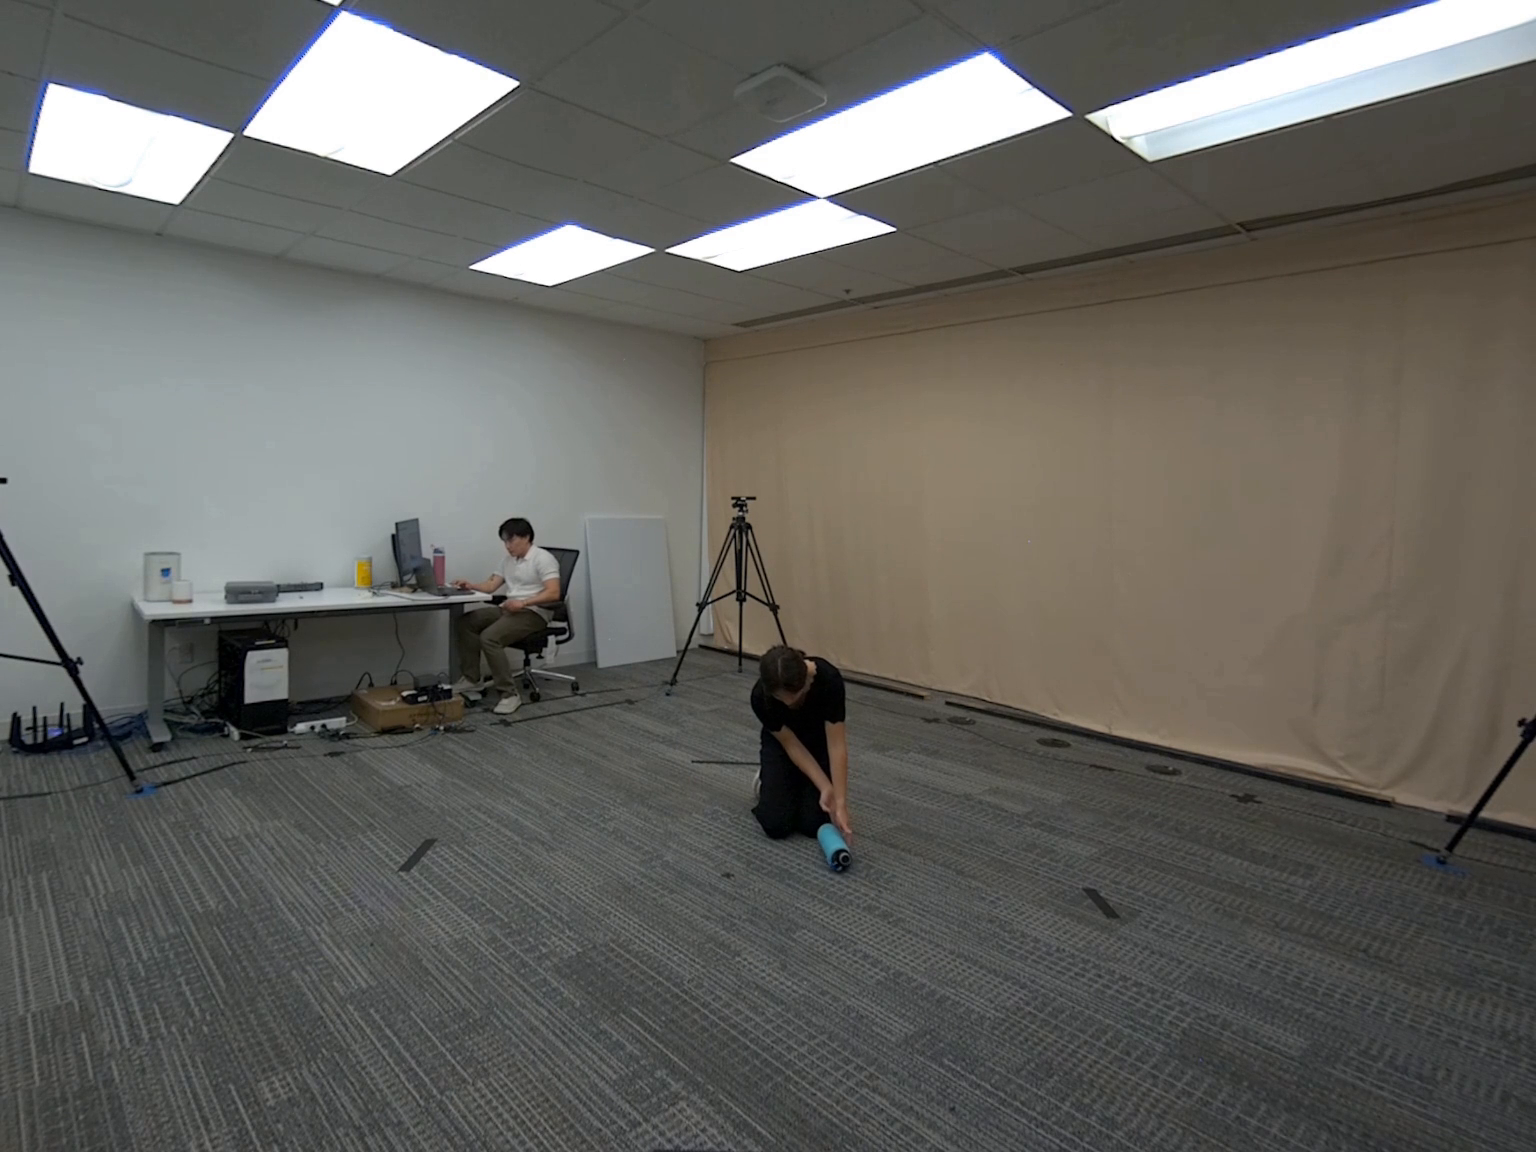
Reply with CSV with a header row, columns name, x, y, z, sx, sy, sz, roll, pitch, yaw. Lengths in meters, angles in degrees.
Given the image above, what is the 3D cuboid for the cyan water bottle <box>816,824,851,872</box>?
name,x,y,z,sx,sy,sz,roll,pitch,yaw
cyan water bottle,0.243,1.056,3.260,0.092,0.092,0.285,1,4,-7
